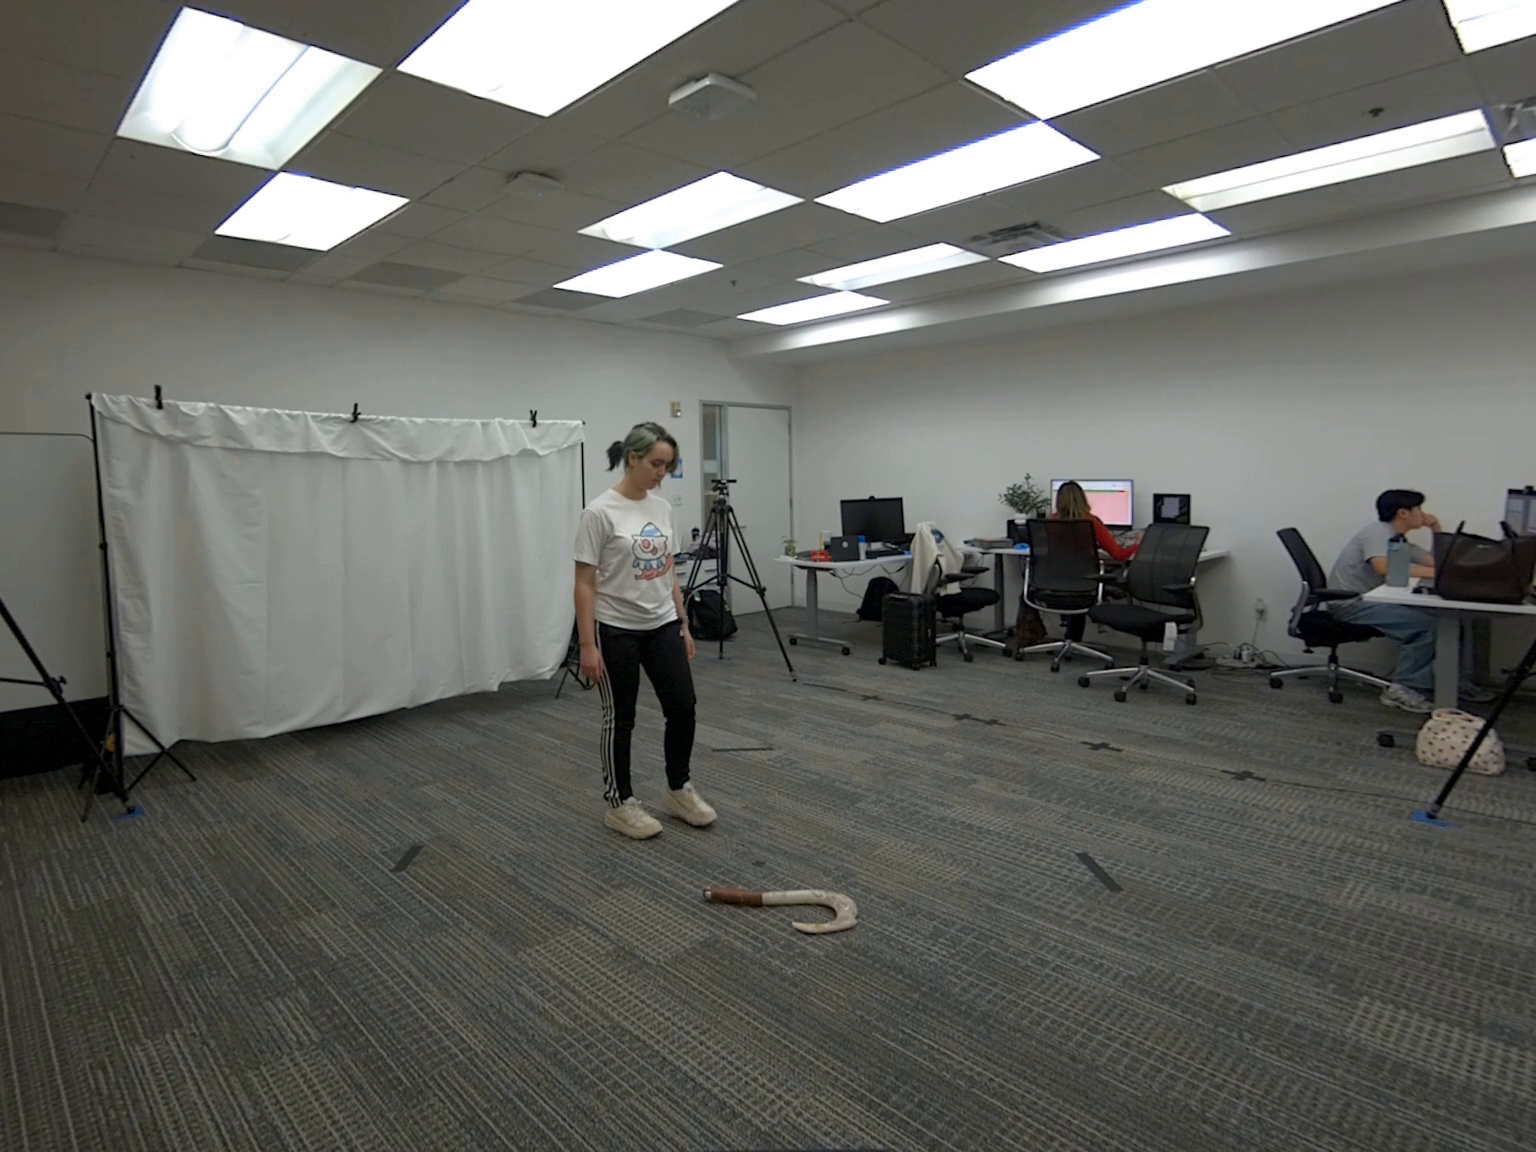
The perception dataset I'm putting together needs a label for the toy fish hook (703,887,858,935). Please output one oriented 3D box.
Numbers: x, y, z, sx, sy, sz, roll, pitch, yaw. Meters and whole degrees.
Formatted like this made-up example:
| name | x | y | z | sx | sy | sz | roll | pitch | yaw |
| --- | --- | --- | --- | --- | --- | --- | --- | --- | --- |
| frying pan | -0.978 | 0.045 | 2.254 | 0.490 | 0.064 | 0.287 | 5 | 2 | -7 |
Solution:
| name | x | y | z | sx | sy | sz | roll | pitch | yaw |
| --- | --- | --- | --- | --- | --- | --- | --- | --- | --- |
| toy fish hook | 0.033 | 1.066 | 2.742 | 0.512 | 0.048 | 0.223 | 0 | 5 | 10 |
